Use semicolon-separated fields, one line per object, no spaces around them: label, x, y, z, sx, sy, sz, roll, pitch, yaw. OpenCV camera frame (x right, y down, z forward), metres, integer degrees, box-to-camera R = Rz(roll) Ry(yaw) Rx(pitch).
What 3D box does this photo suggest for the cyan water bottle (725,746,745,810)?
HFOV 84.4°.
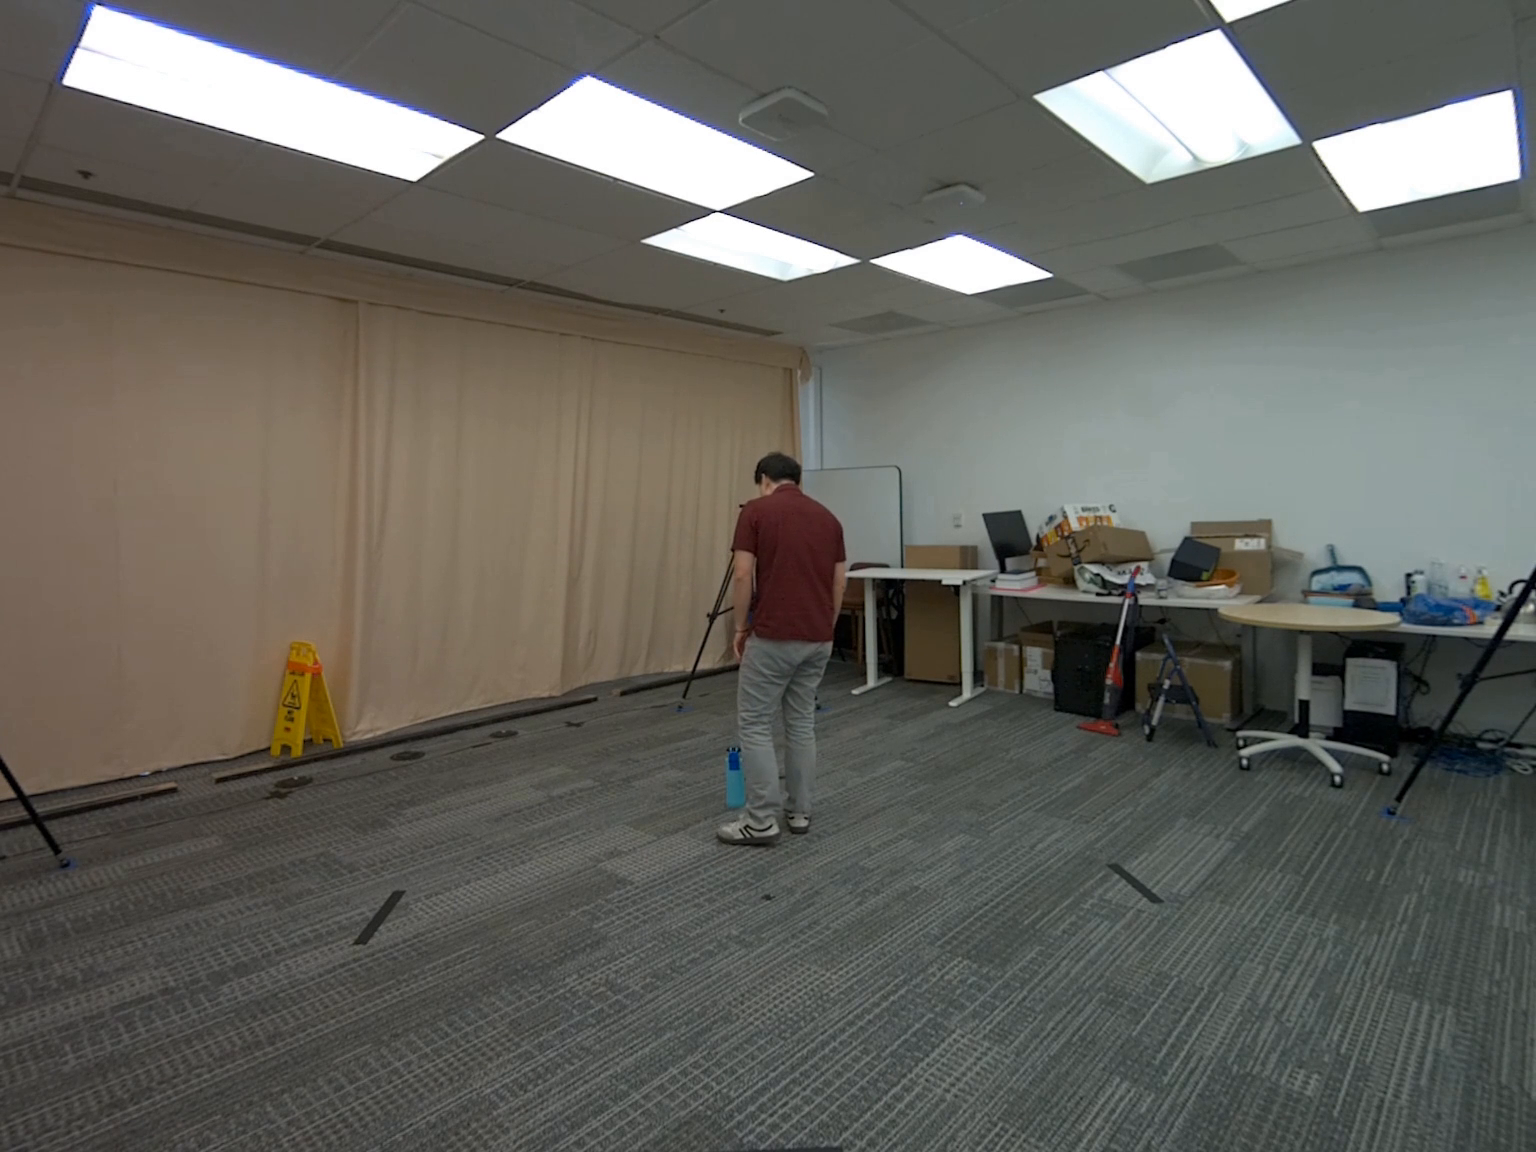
cyan water bottle;-0.154;0.922;3.915;0.092;0.282;0.093;-1;4;-2
